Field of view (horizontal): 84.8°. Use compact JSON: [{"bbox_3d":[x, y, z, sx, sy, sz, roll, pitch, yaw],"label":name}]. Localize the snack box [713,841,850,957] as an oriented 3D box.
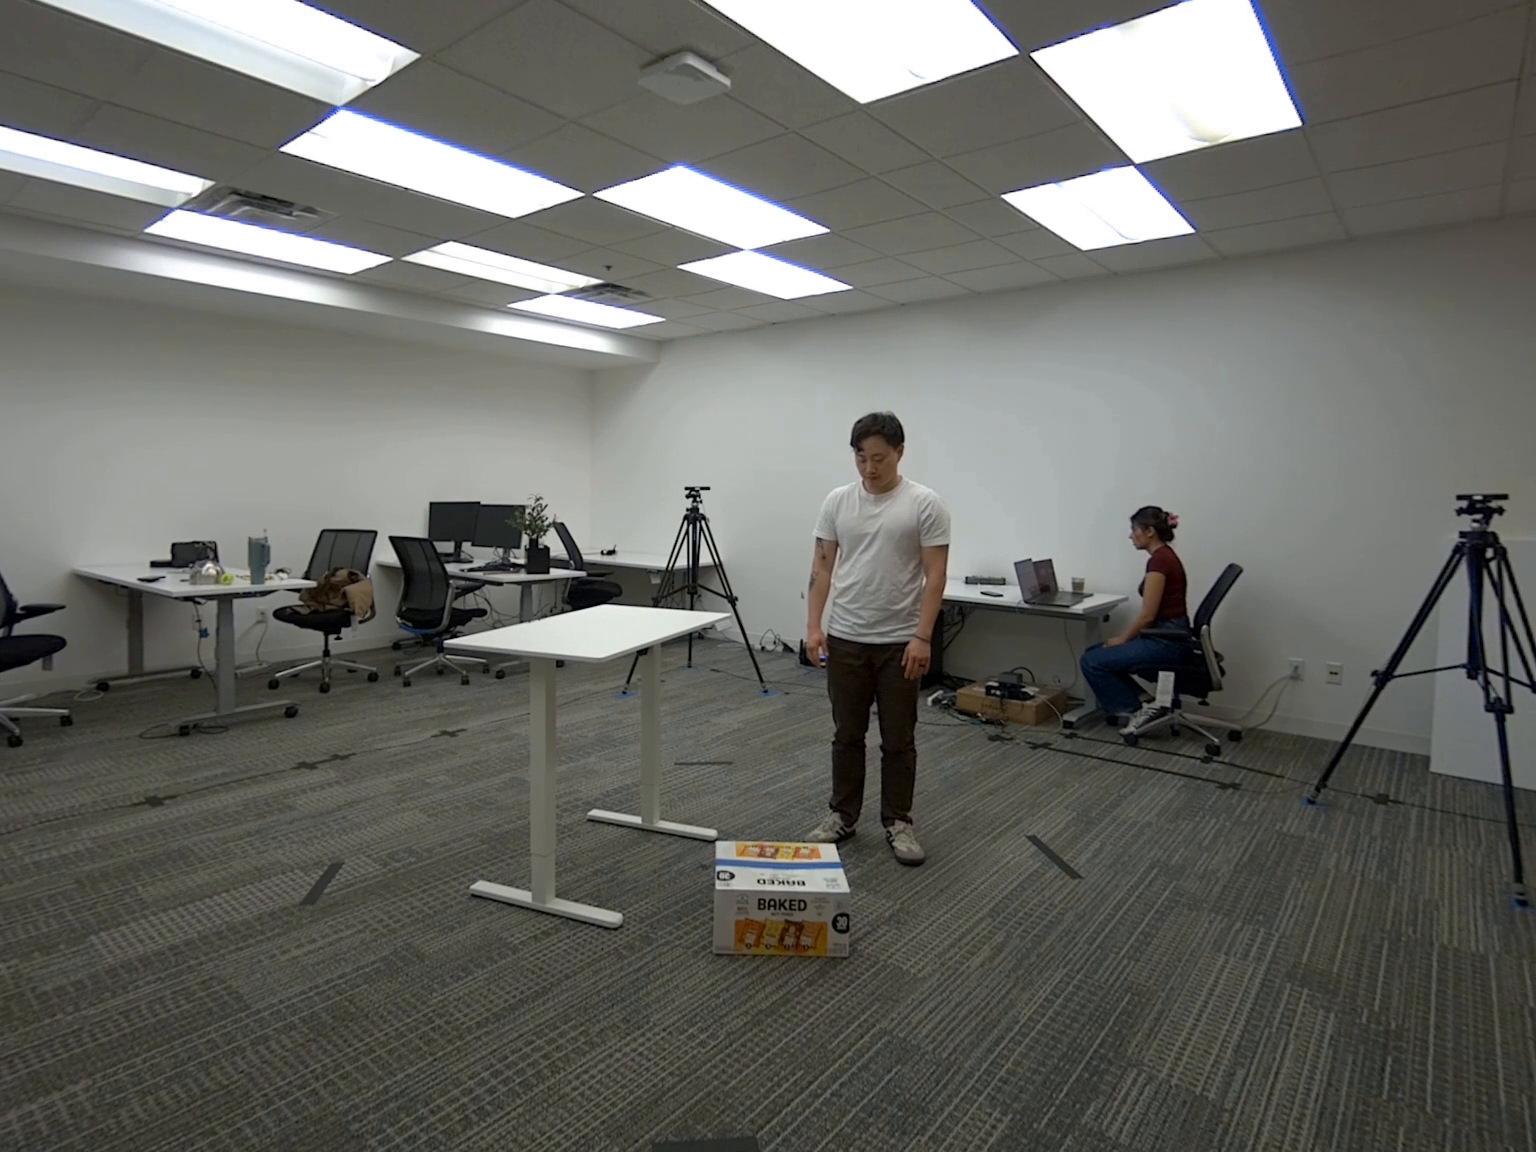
[{"bbox_3d":[0.026,1.007,2.683,0.405,0.205,0.342,1,5,-2],"label":"snack box"}]
